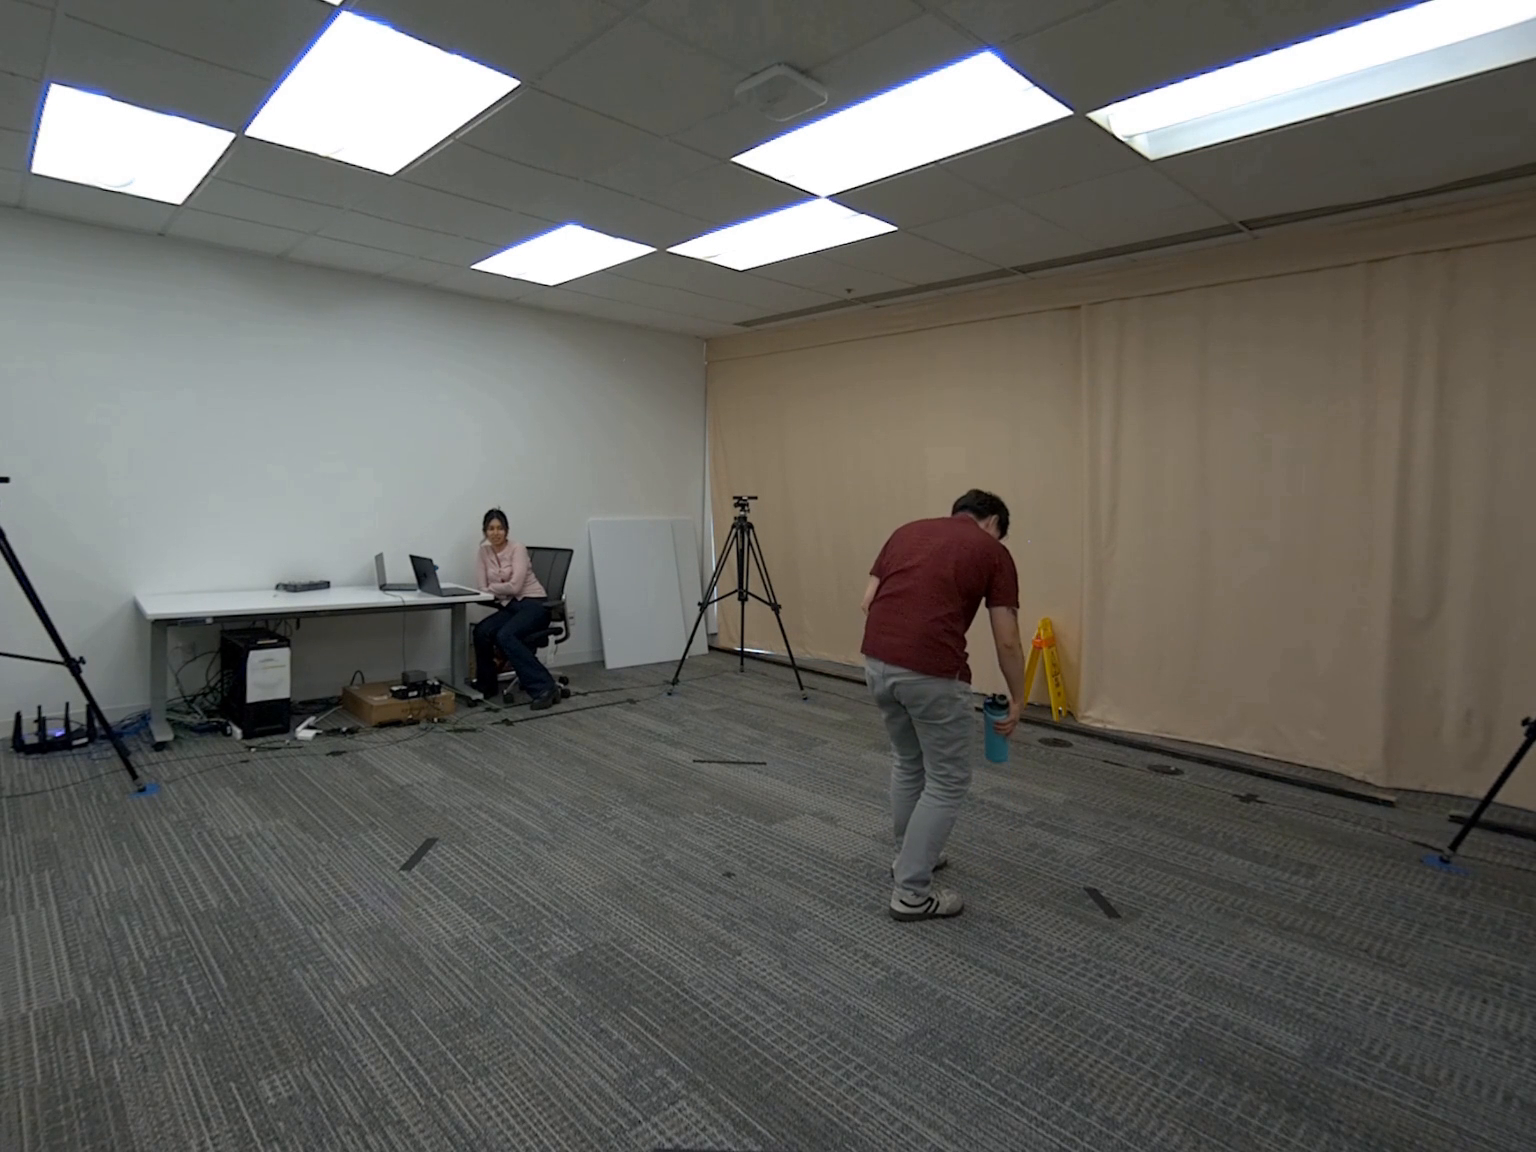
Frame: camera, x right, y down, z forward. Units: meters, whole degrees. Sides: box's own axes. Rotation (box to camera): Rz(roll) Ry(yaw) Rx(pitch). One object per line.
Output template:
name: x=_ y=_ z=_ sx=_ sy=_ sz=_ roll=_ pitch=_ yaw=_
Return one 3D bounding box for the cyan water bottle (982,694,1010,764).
cyan water bottle: x=0.812 y=0.542 z=3.029 sx=0.092 sy=0.277 sz=0.094 roll=-8 pitch=30 yaw=3
